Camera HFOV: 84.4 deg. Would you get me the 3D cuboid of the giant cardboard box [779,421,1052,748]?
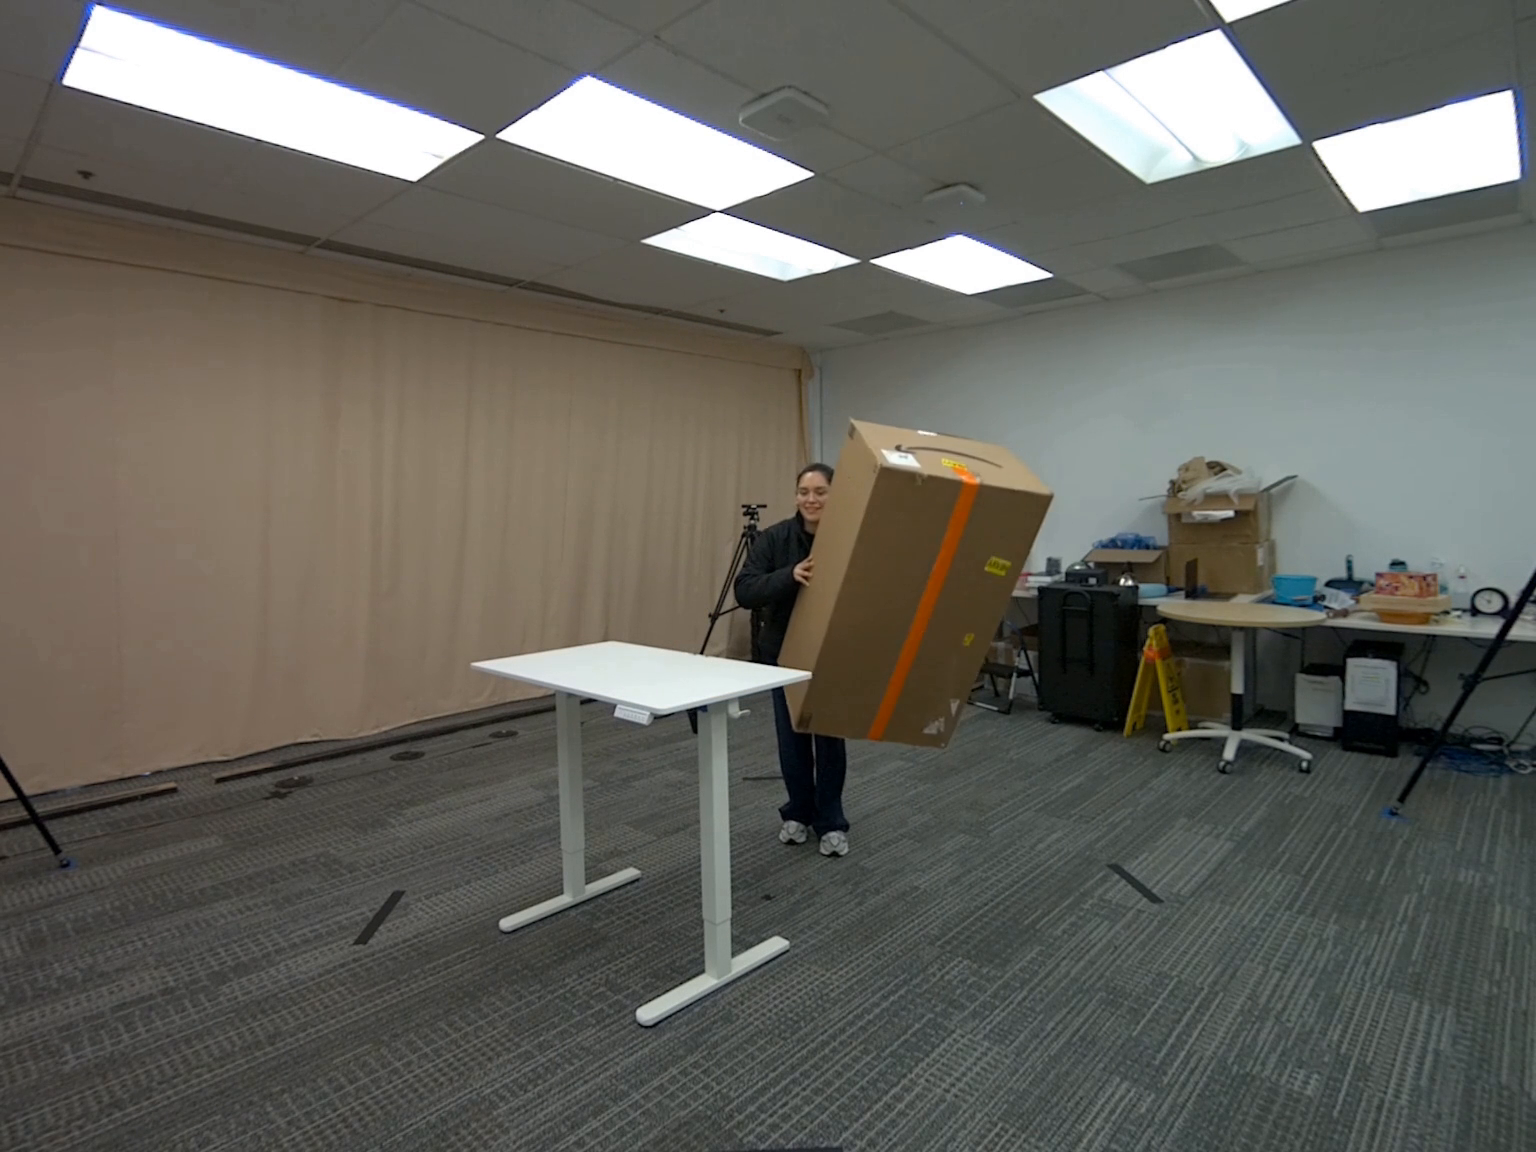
[{"bbox_3d":[0.475,0.048,2.944,0.571,1.017,0.435,9,27,-11],"label":"giant cardboard box"}]
